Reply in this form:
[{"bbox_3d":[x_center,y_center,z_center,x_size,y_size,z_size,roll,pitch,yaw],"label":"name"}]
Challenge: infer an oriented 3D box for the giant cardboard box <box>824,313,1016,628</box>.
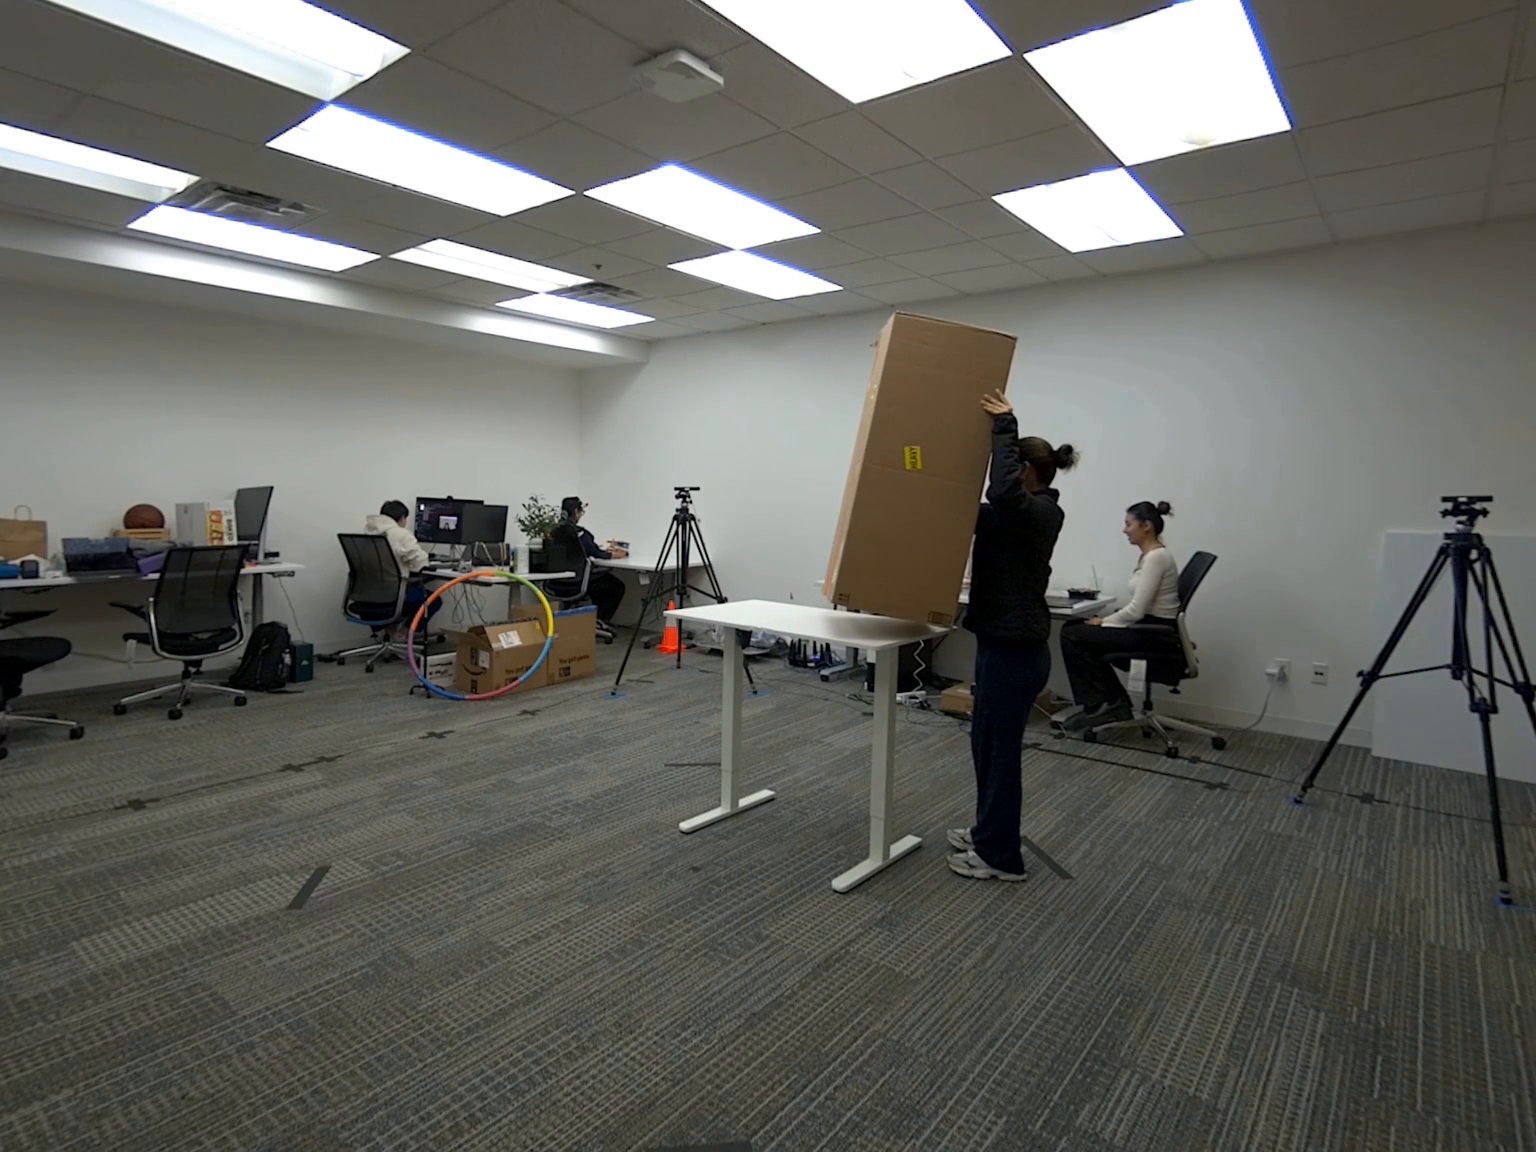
[{"bbox_3d":[0.547,-0.378,3.175,0.450,1.025,0.581,12,2,3],"label":"giant cardboard box"}]
